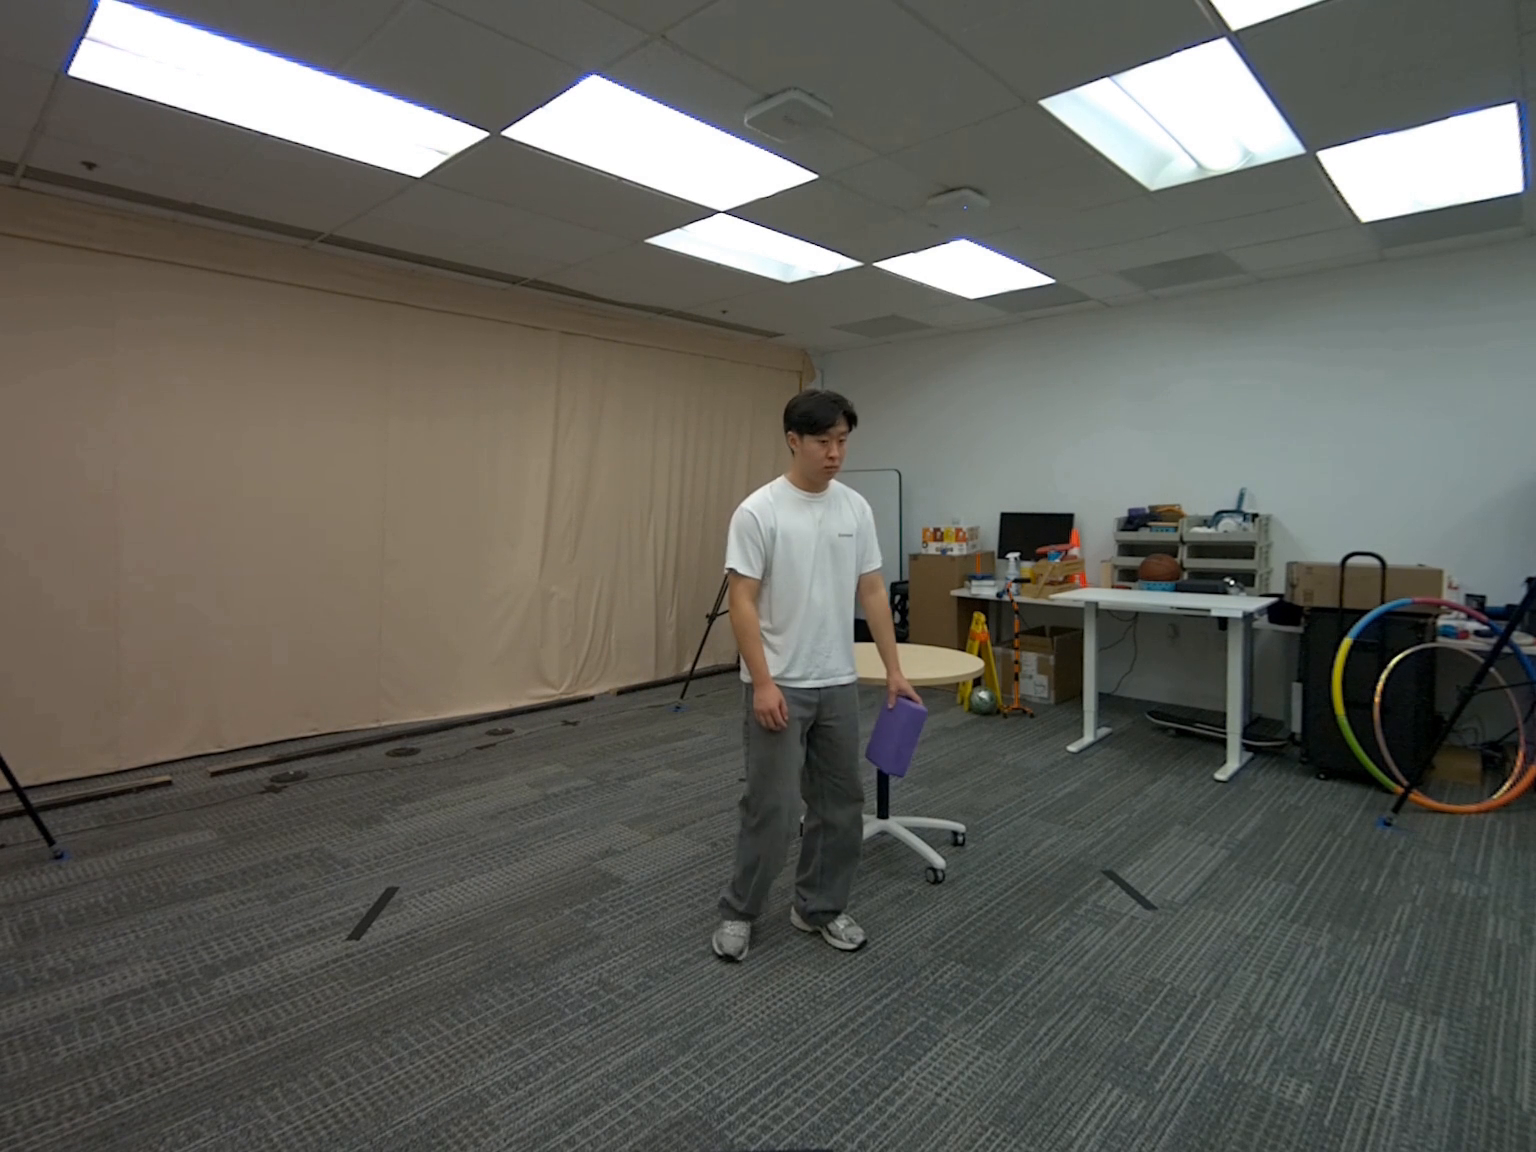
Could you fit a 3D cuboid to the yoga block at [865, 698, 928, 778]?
[{"bbox_3d":[0.392,0.495,2.645,0.074,0.229,0.153,12,4,-26],"label":"yoga block"}]
